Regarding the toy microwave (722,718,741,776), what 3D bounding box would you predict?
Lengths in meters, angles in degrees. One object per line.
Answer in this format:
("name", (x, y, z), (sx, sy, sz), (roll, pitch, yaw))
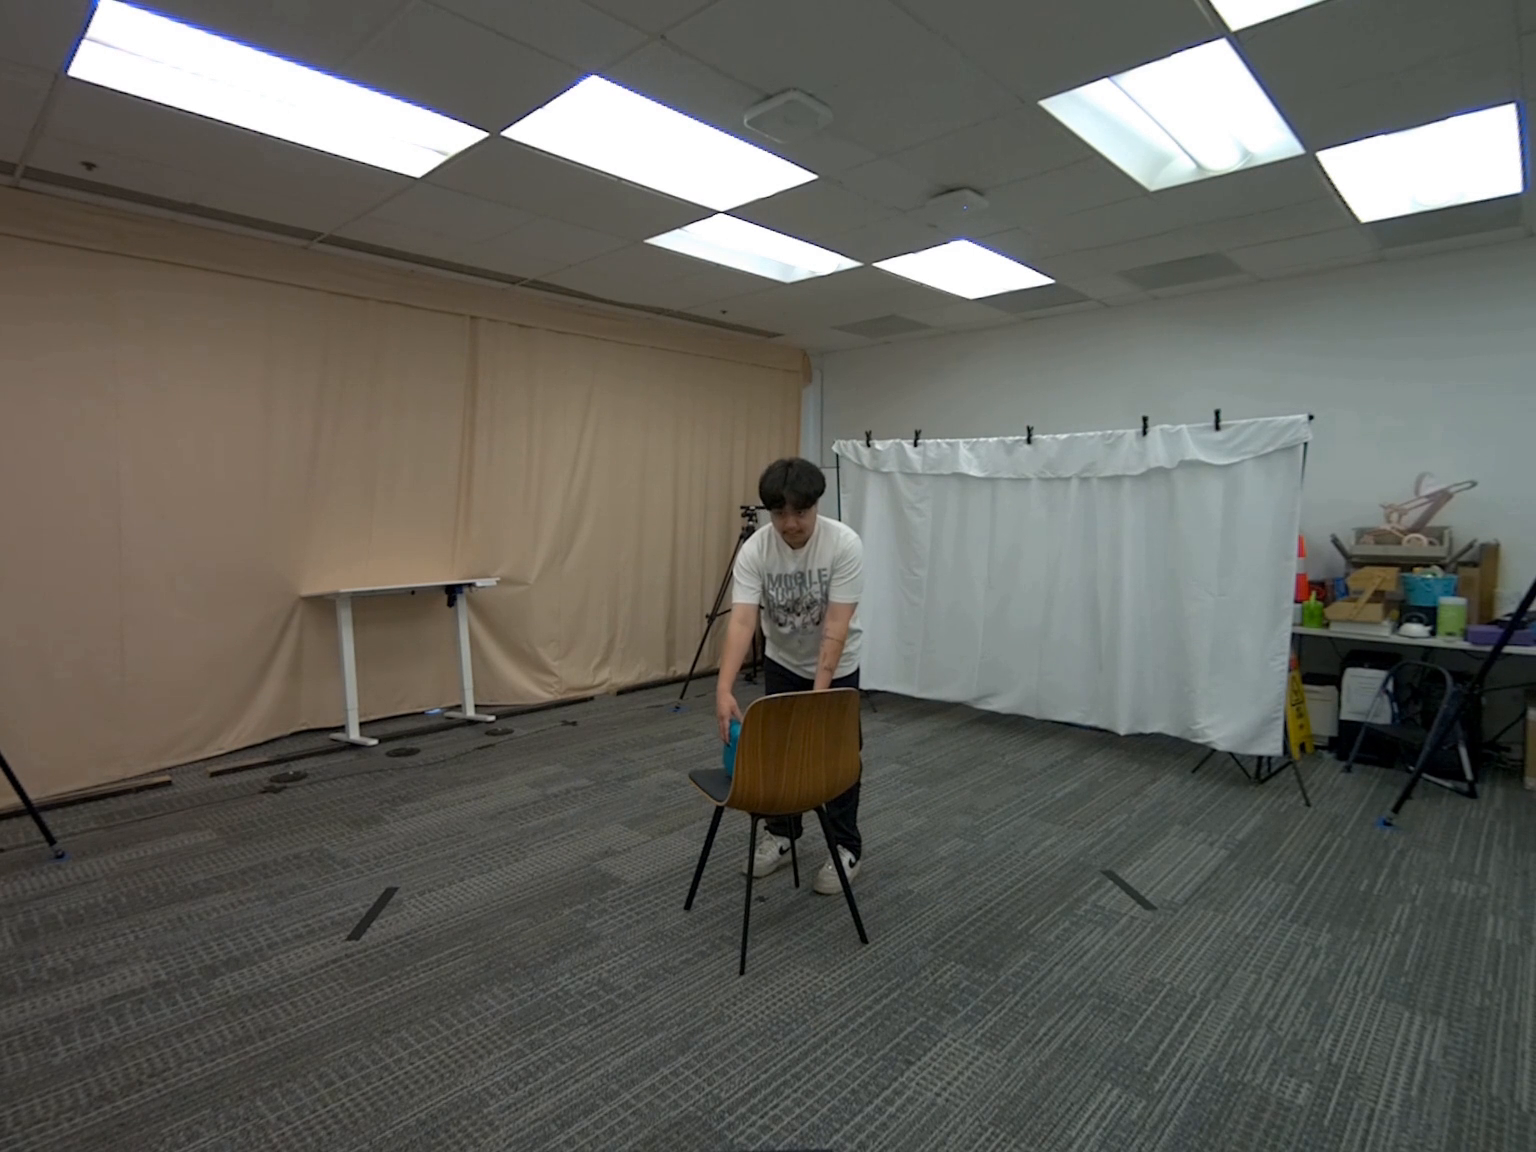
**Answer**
("toy microwave", (0.003, 0.572, 2.801), (0.282, 0.183, 0.156), (-1, 12, -16))
